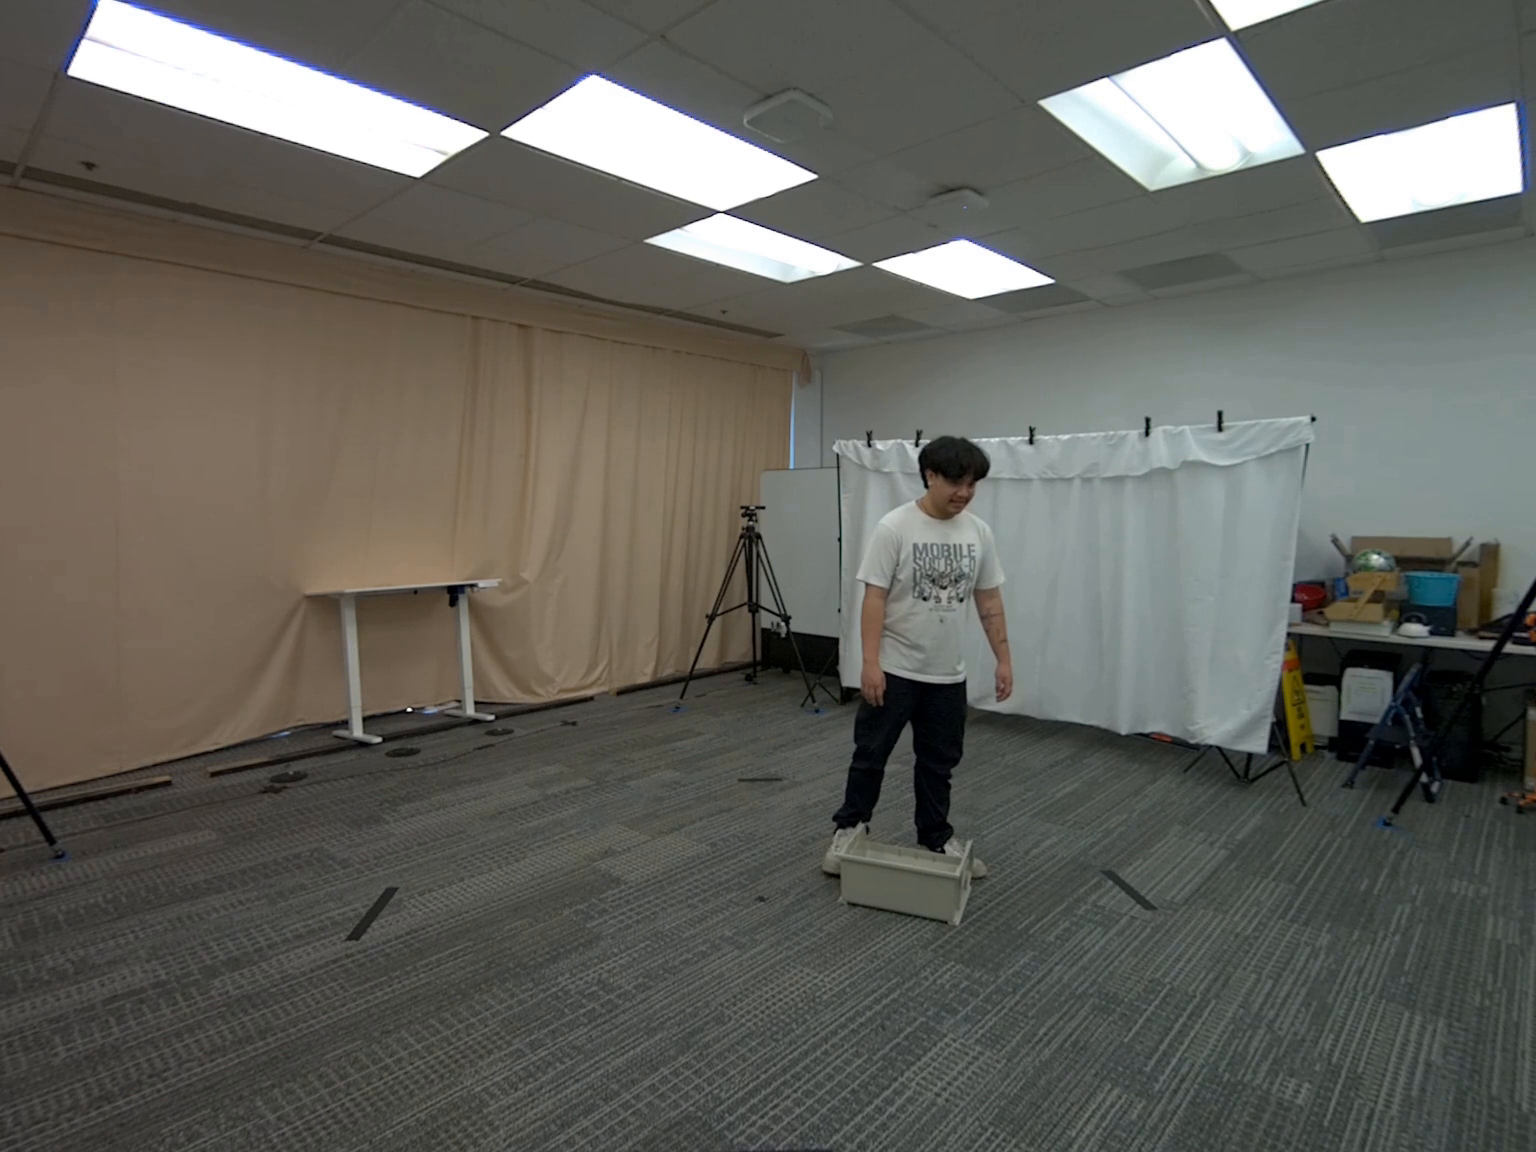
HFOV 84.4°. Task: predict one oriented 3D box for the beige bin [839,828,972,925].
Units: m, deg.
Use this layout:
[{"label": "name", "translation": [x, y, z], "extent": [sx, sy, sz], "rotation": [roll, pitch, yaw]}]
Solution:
[{"label": "beige bin", "translation": [0.501, 1.050, 3.015], "extent": [0.432, 0.188, 0.369], "rotation": [2, 6, 23]}]
